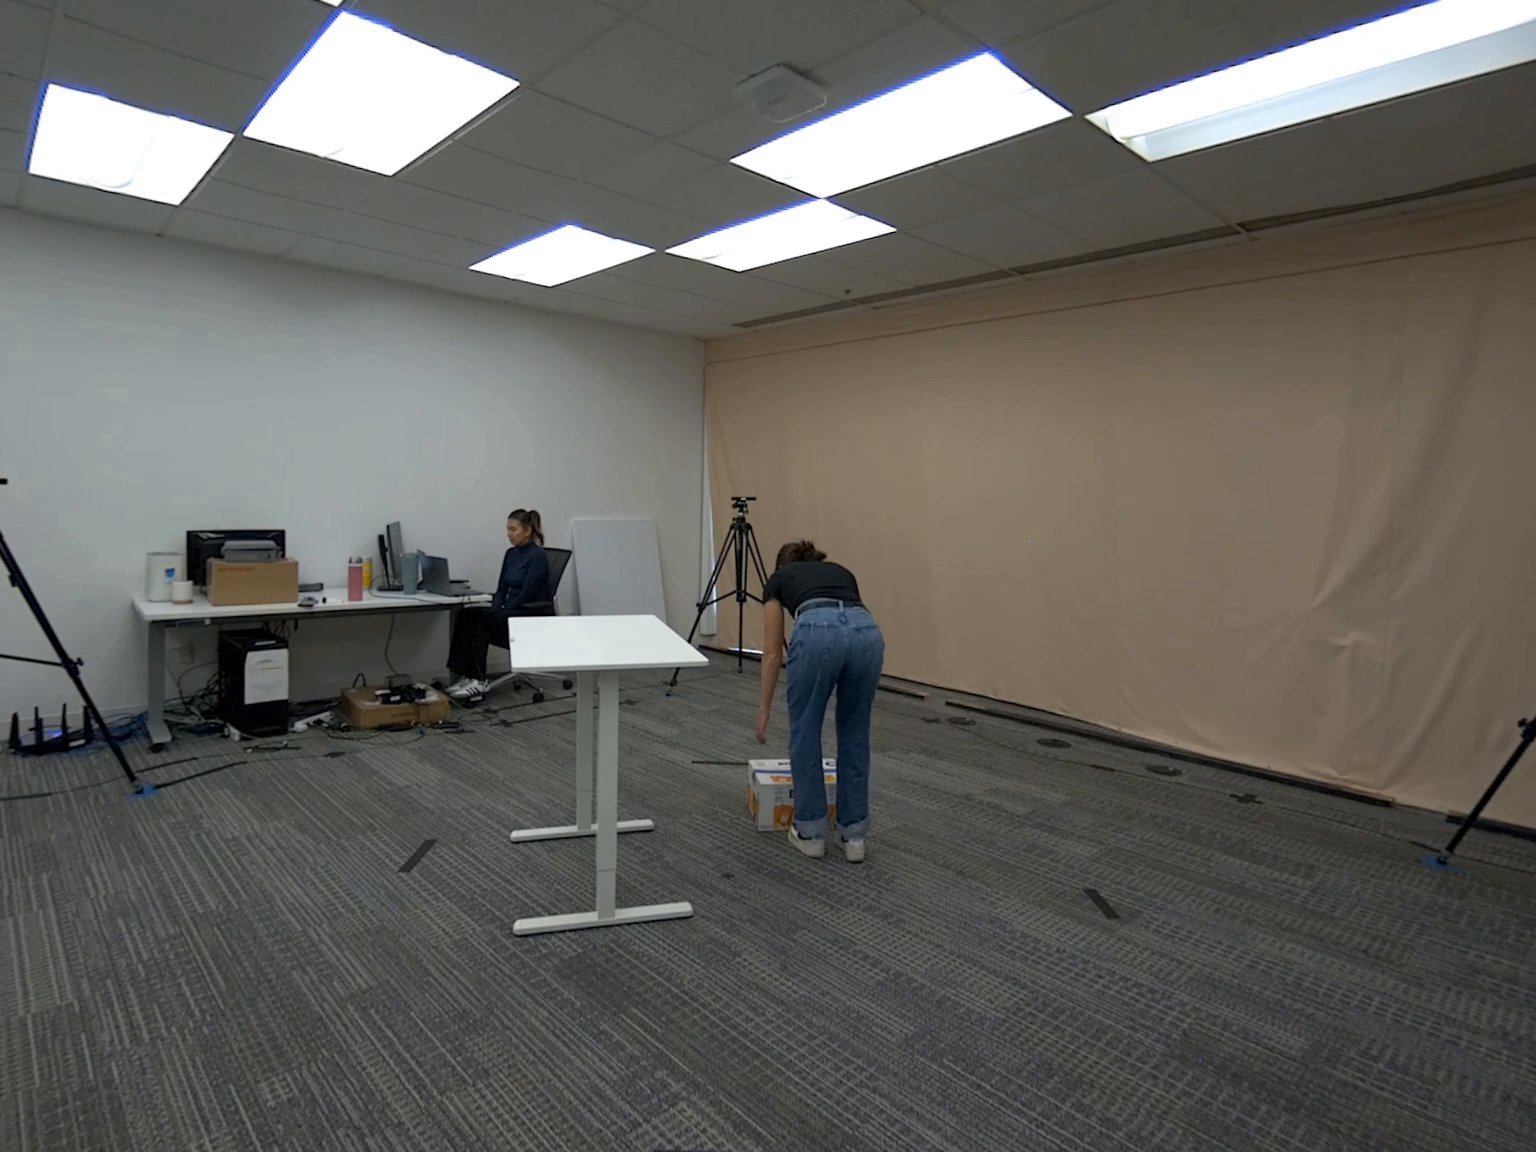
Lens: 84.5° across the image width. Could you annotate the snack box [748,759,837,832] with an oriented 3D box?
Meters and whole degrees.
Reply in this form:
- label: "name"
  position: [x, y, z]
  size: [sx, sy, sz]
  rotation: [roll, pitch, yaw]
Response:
- label: "snack box"
  position: [0.124, 0.960, 3.718]
  size: [0.402, 0.205, 0.343]
  rotation: [1, 5, -8]
